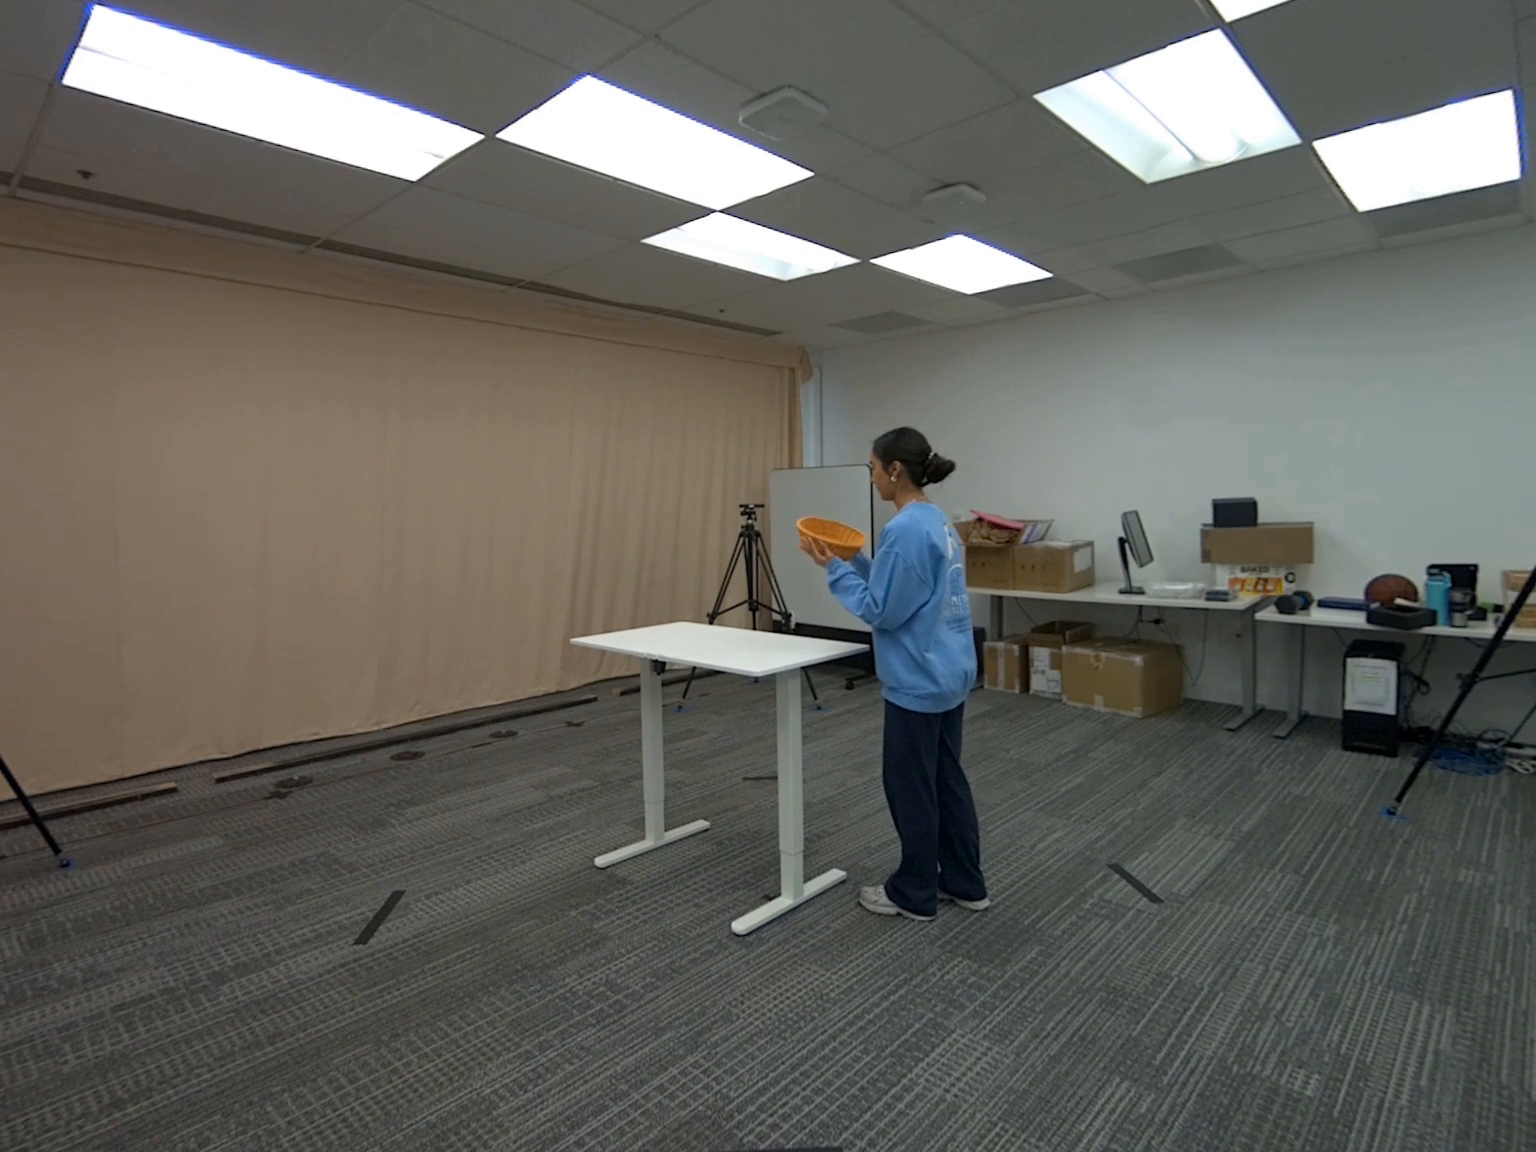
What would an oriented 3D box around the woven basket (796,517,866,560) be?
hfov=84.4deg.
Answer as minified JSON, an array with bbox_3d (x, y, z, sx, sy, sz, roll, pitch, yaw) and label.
[{"bbox_3d":[0.245,-0.116,2.967,0.257,0.073,0.345,22,18,15],"label":"woven basket"}]
